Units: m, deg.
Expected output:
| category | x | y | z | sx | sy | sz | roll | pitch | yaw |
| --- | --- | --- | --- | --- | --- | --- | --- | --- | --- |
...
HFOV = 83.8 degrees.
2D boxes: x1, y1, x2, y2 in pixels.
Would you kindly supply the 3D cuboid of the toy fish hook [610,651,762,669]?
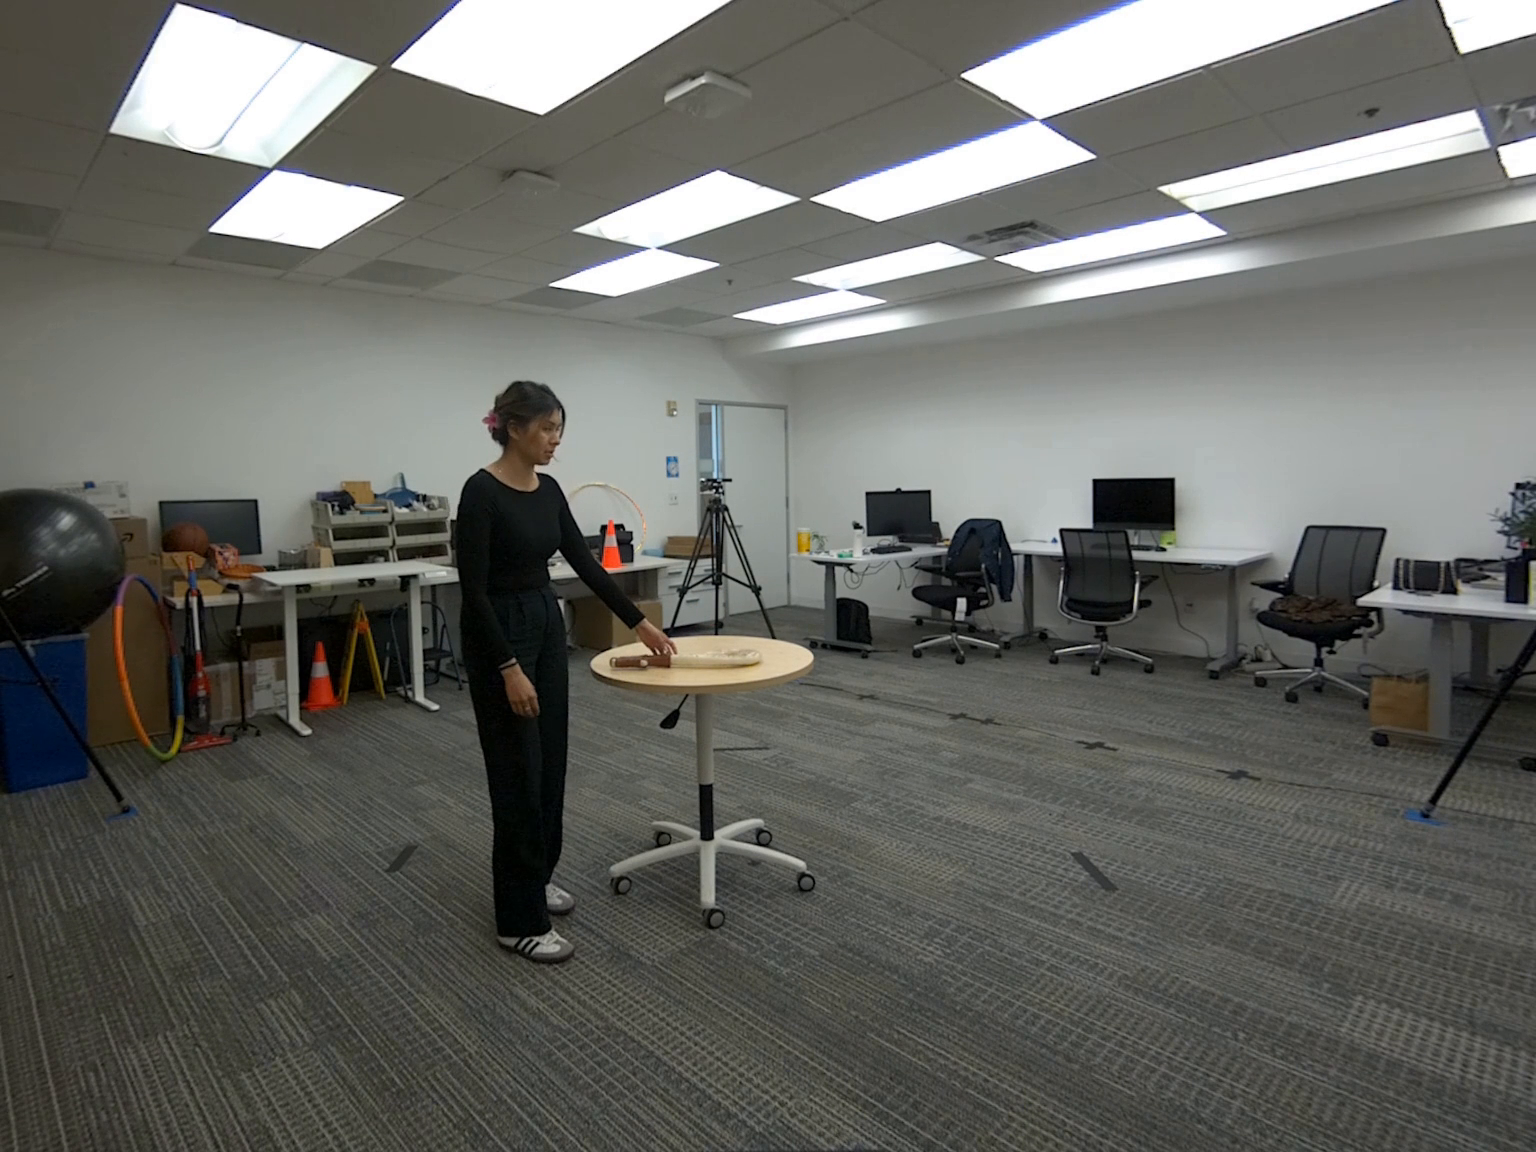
| category | x | y | z | sx | sy | sz | roll | pitch | yaw |
| --- | --- | --- | --- | --- | --- | --- | --- | --- | --- |
| toy fish hook | -0.276 | 0.281 | 2.873 | 0.505 | 0.048 | 0.225 | 0 | -1 | -3 |
